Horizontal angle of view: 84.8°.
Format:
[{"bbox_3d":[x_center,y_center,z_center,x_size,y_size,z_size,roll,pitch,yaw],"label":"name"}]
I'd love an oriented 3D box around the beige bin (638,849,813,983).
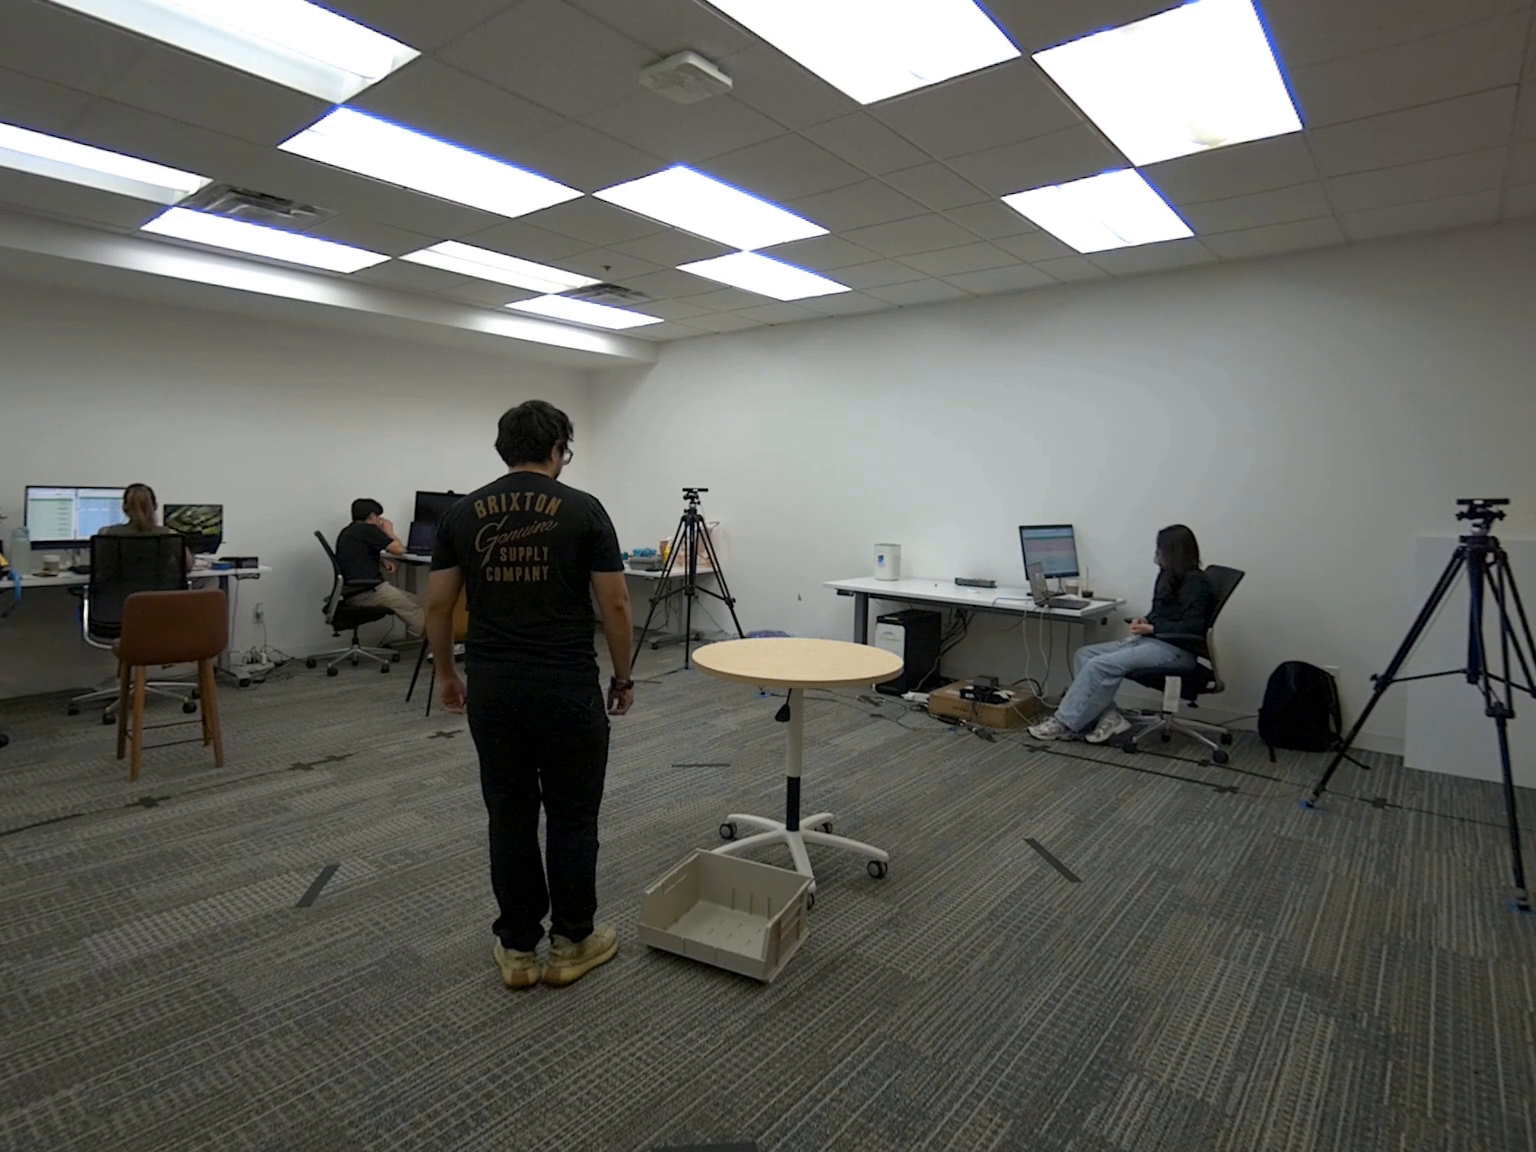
[{"bbox_3d":[-0.128,1.033,2.601,0.433,0.188,0.369,3,5,25],"label":"beige bin"}]
